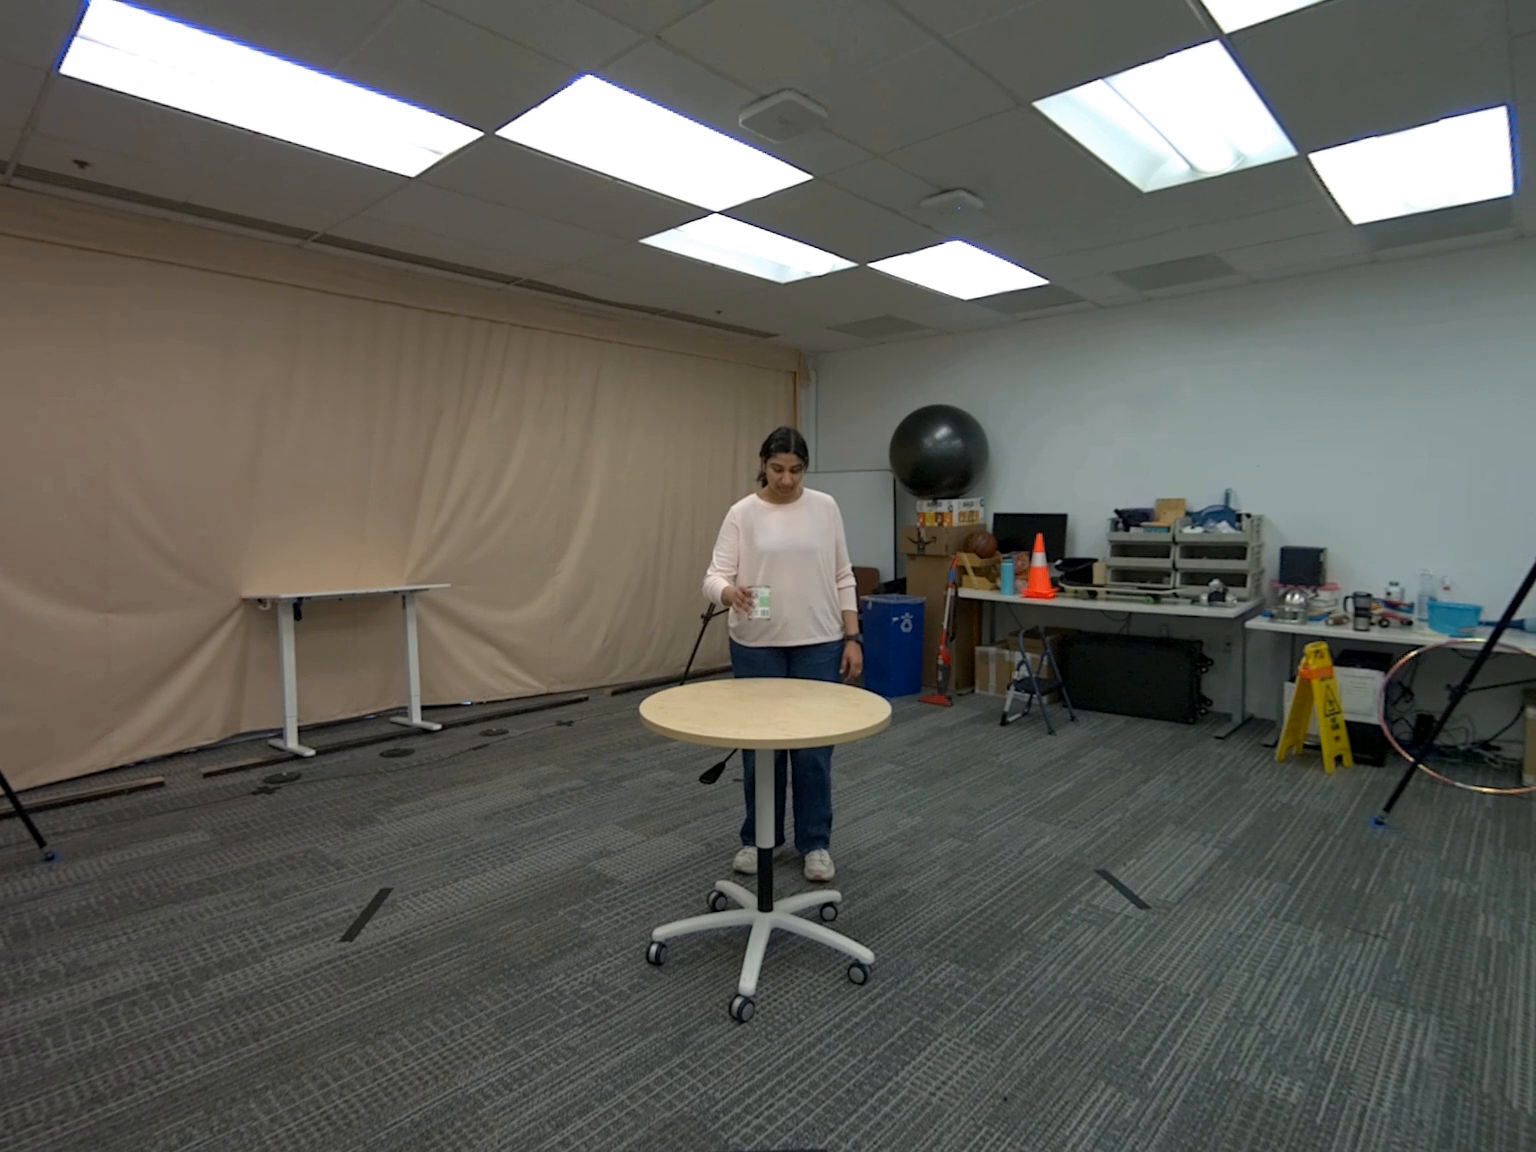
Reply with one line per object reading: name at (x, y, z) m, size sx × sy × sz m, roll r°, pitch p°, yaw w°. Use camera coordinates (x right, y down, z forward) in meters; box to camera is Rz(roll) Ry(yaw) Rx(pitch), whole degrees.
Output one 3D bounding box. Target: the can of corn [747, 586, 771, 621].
can of corn at (-0.032, 0.098, 2.752) m, size 0.074 × 0.111 × 0.074 m, roll -2°, pitch -3°, yaw -2°
